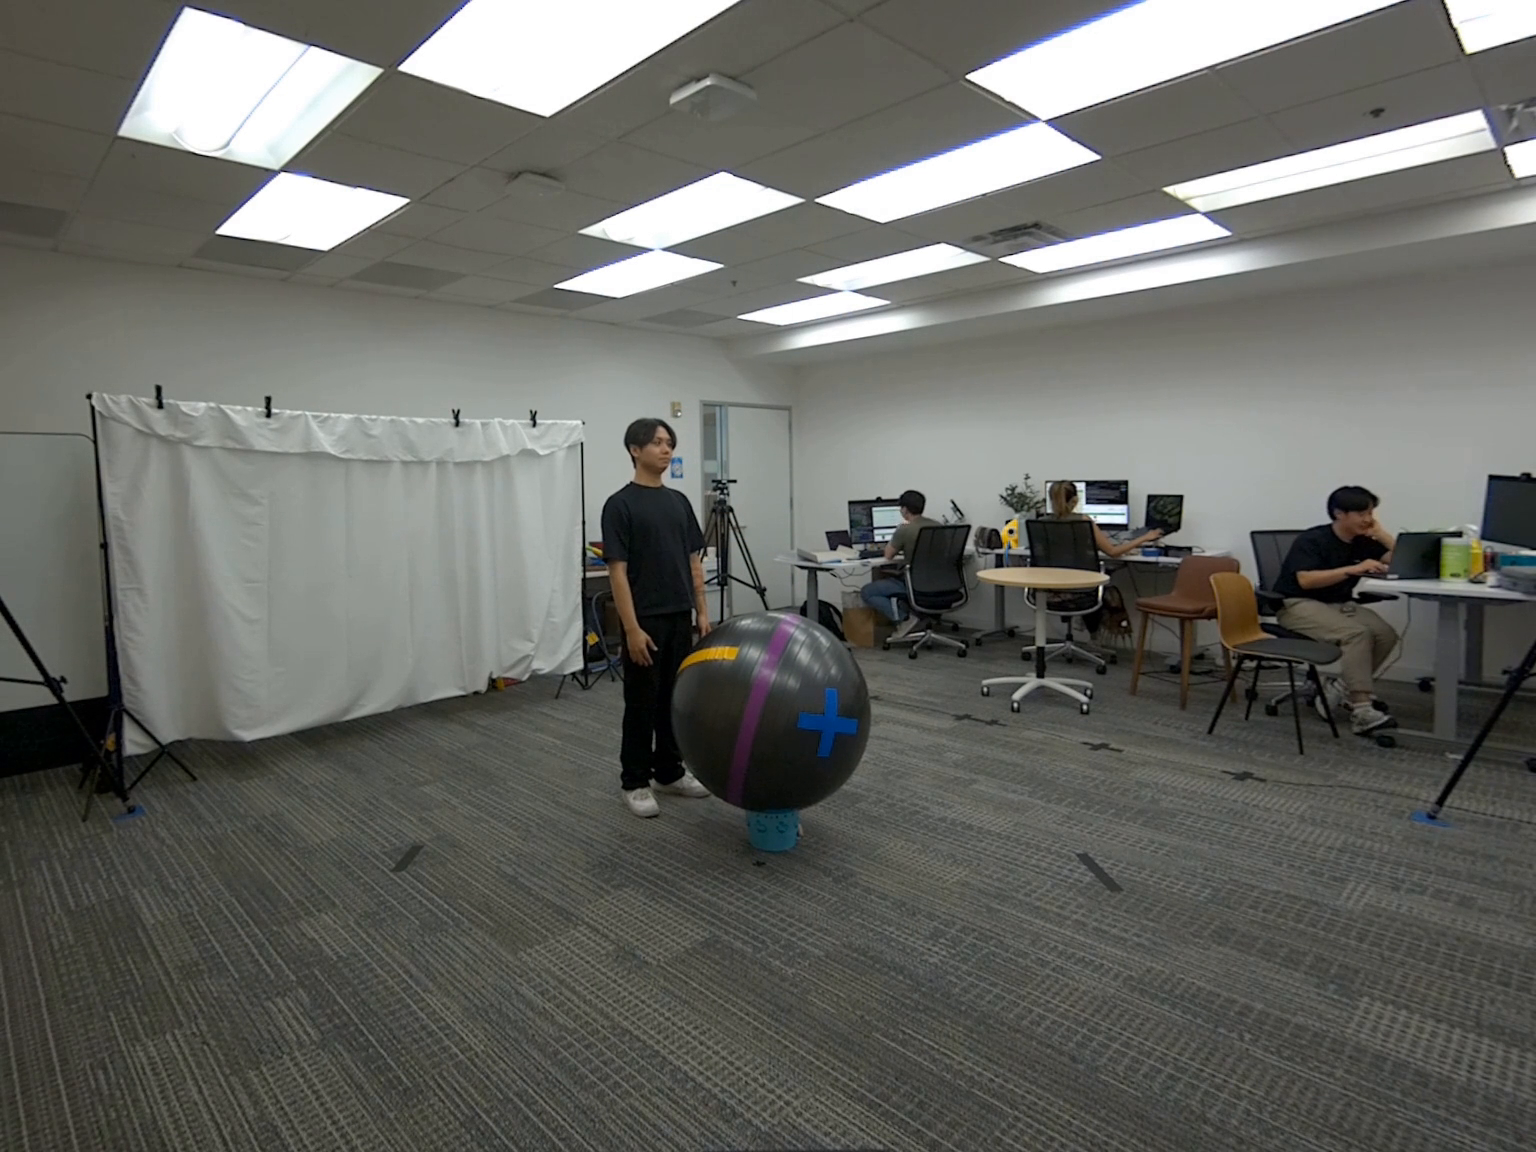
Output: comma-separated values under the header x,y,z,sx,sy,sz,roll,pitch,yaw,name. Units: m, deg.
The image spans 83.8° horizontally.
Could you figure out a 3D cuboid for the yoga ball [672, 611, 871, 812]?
x,y,z,sx,sy,sz,roll,pitch,yaw,name
0.011,0.516,3.271,0.757,0.755,0.762,-1,5,-2,yoga ball
